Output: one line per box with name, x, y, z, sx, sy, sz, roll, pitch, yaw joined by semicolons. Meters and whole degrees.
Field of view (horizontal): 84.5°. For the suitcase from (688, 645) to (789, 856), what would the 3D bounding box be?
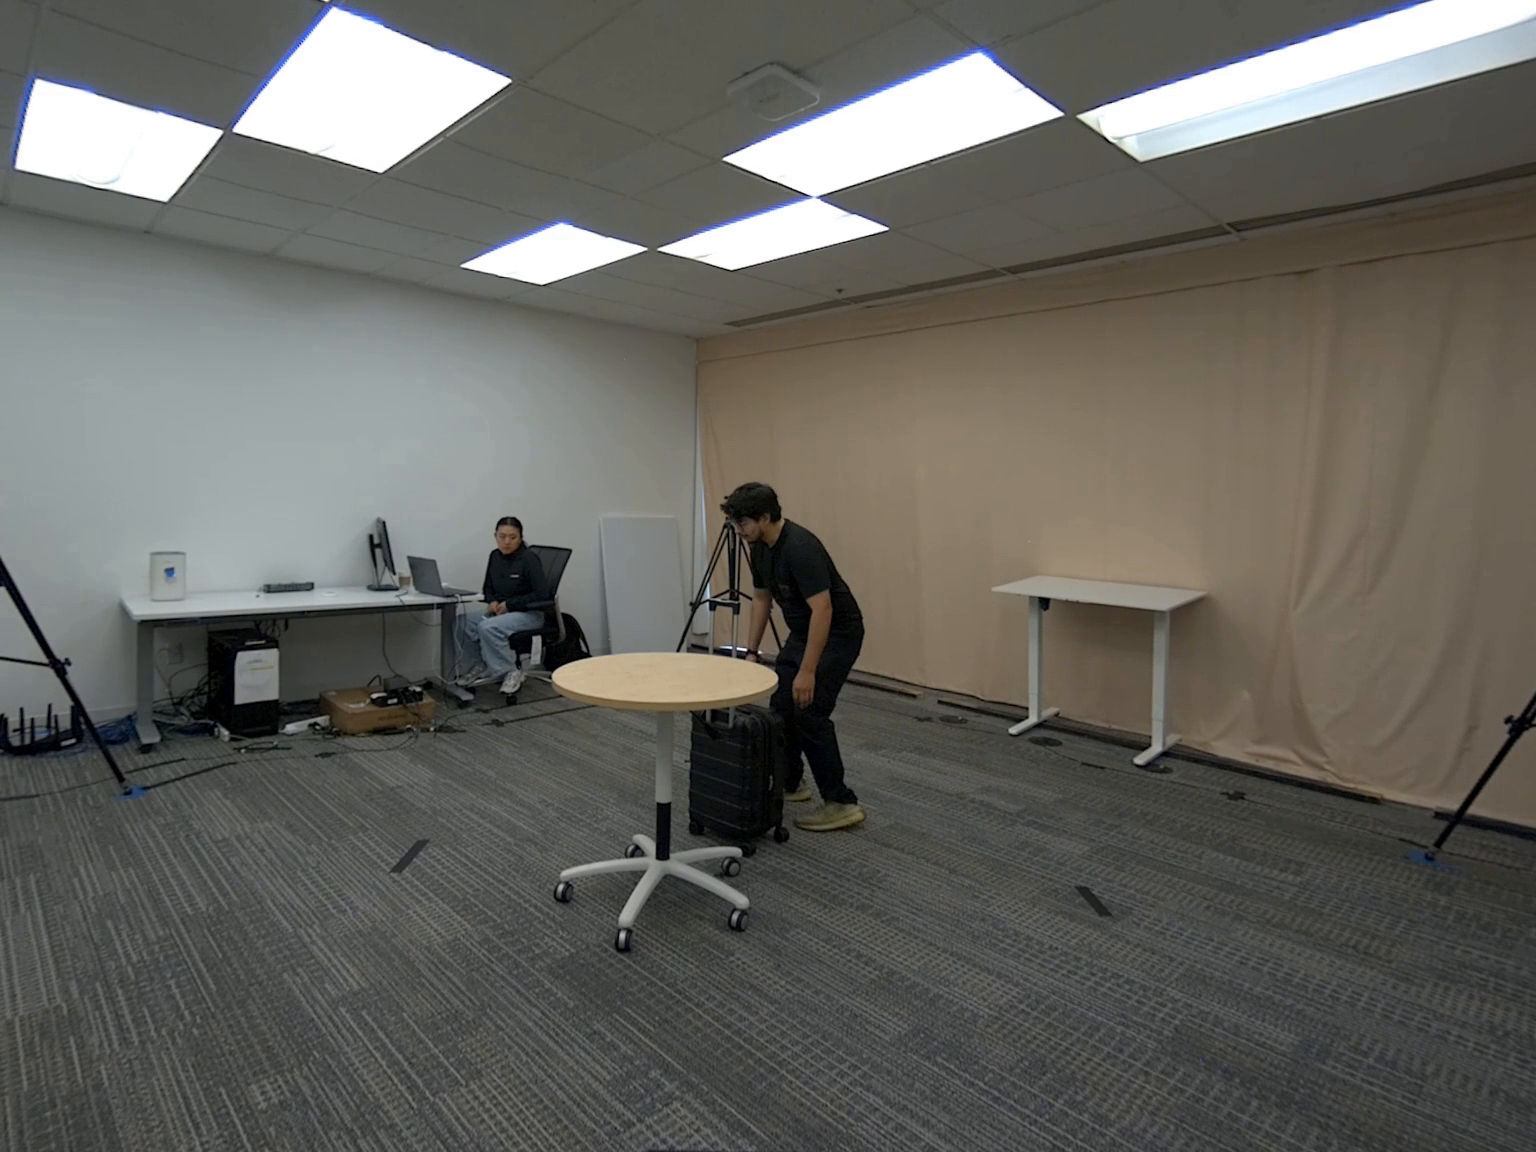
suitcase;-0.131;0.589;3.456;0.393;0.978;0.251;2;0;40
